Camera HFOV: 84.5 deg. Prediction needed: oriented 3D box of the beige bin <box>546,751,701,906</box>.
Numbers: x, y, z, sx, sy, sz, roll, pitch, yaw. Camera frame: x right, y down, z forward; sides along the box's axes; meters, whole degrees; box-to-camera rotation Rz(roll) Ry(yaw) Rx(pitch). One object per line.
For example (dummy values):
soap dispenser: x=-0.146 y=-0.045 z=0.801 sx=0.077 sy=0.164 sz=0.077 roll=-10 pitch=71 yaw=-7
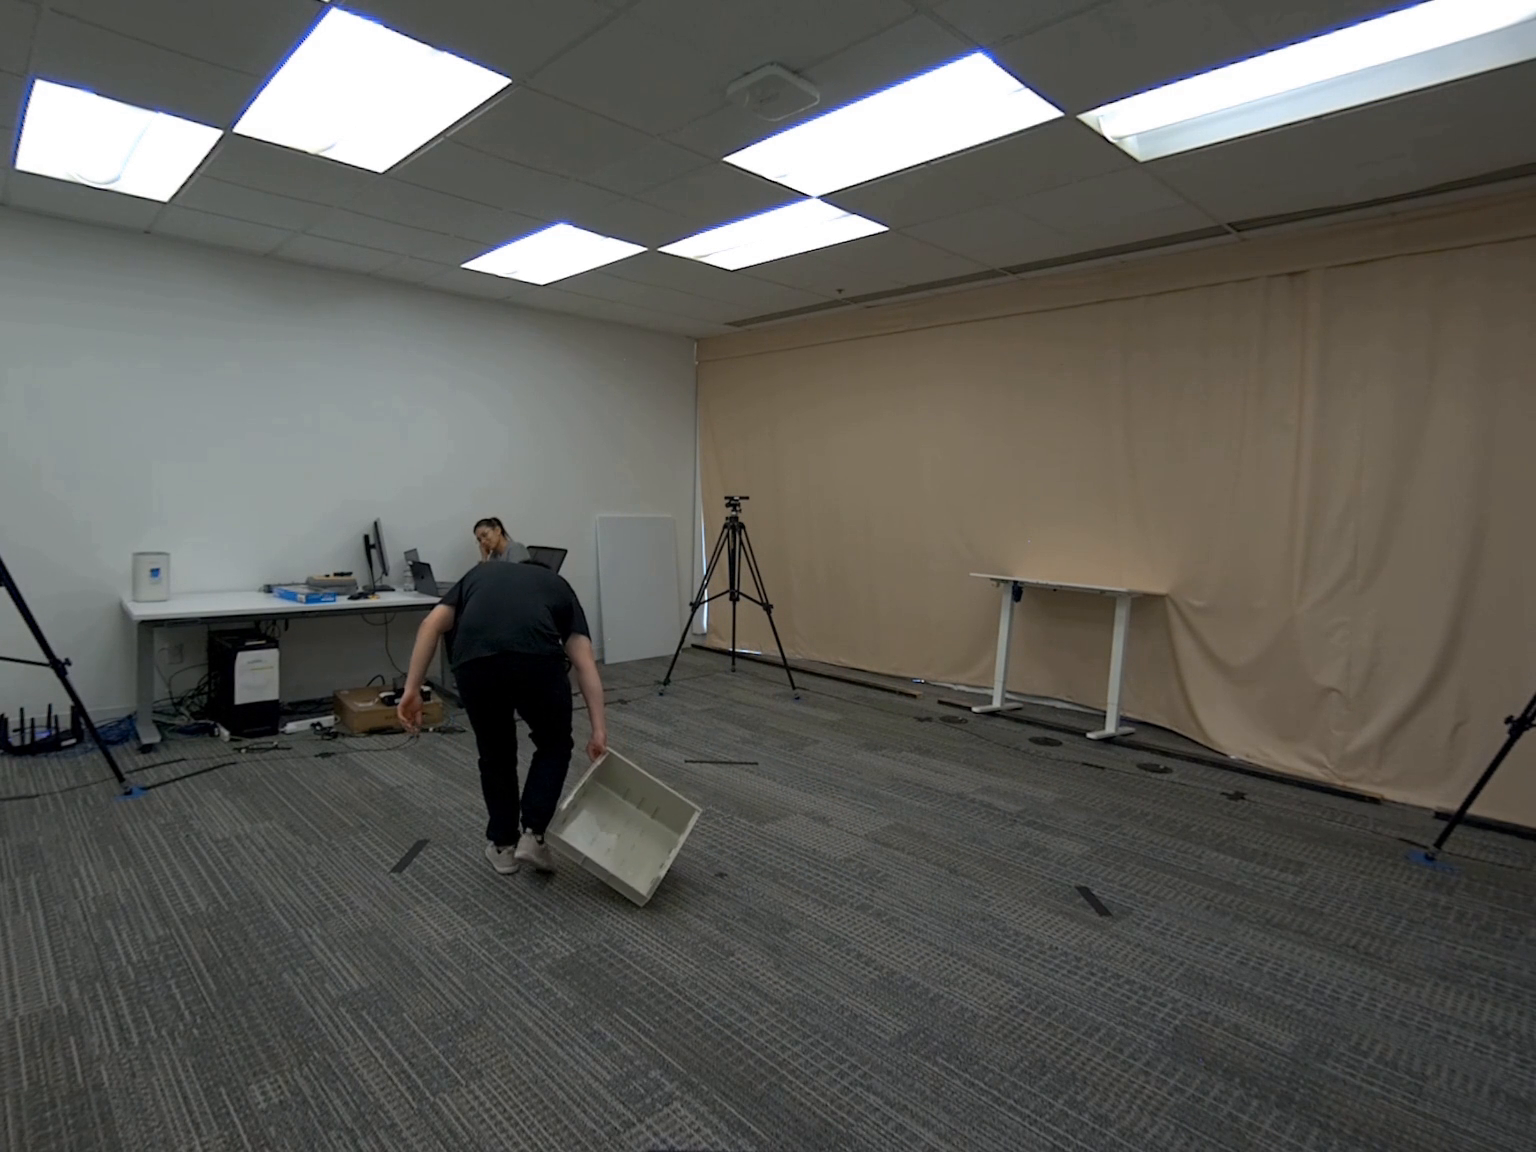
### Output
beige bin: x=-0.512 y=0.893 z=2.977 sx=0.425 sy=0.187 sz=0.378 roll=29 pitch=28 yaw=4
